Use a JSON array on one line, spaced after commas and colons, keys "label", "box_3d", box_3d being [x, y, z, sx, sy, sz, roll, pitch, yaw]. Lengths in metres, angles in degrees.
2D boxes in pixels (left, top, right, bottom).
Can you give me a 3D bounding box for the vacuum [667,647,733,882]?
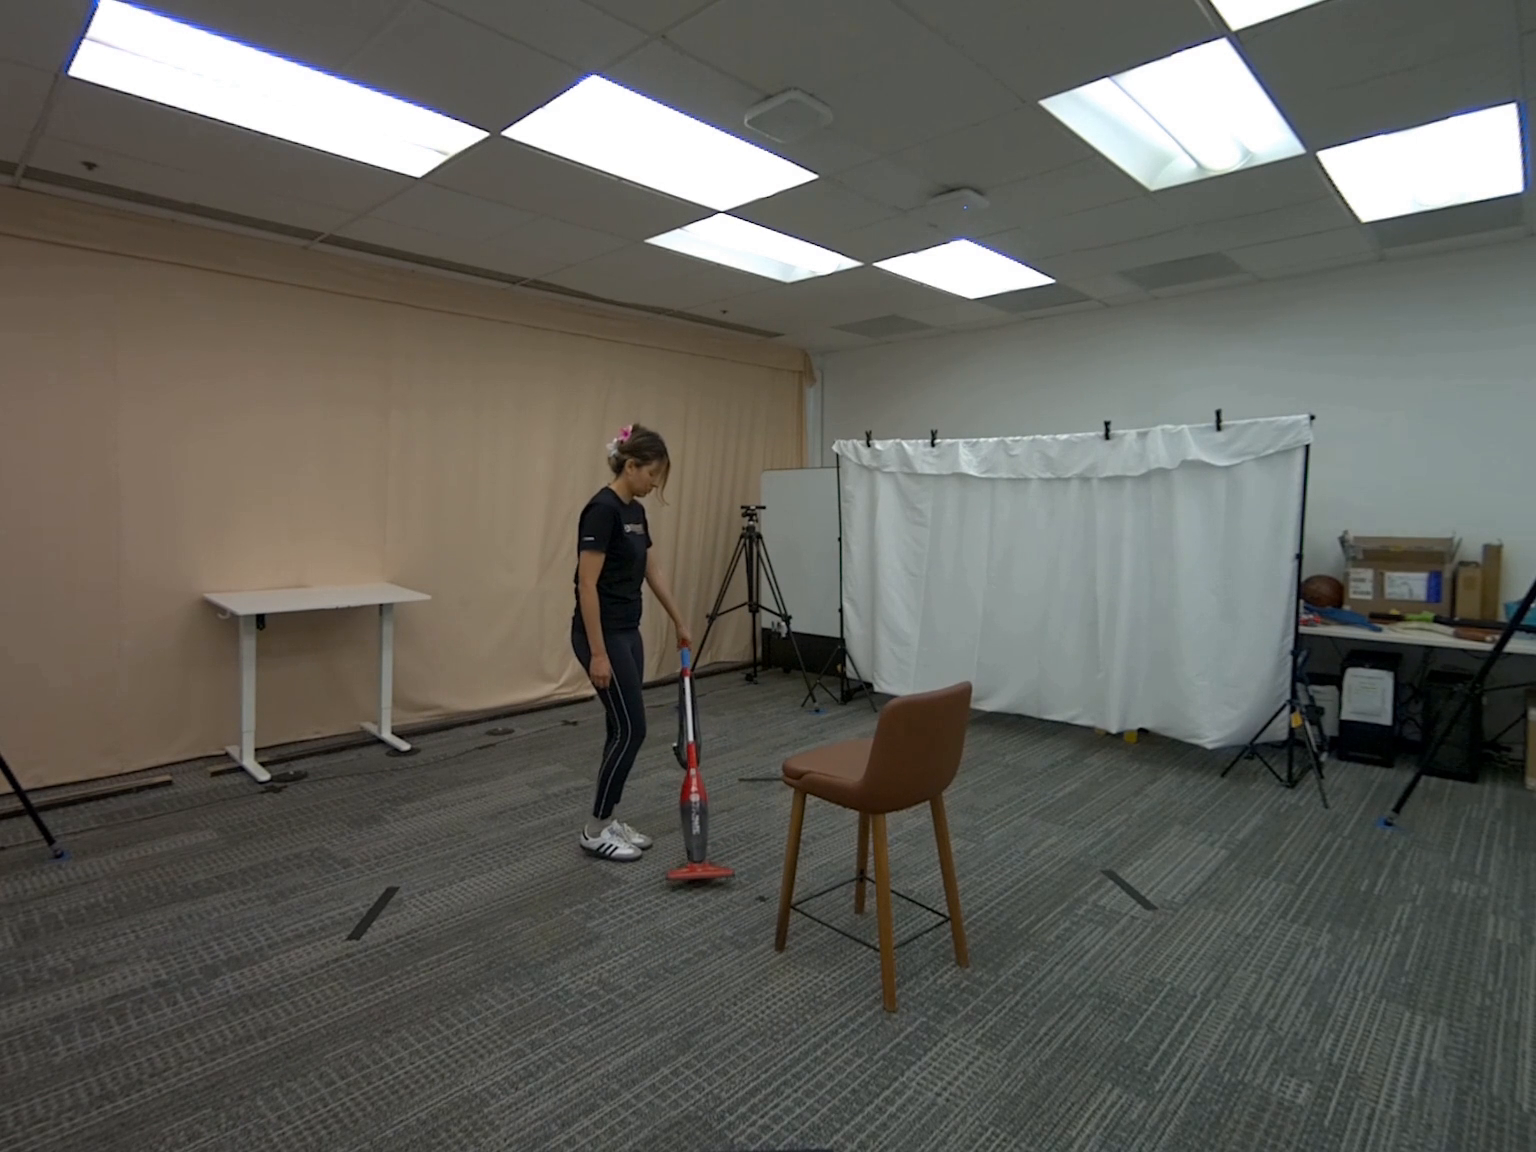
[{"label": "vacuum", "box_3d": [-0.311, 0.701, 3.435, 0.251, 1.072, 0.142, -1, -39, -7]}]
